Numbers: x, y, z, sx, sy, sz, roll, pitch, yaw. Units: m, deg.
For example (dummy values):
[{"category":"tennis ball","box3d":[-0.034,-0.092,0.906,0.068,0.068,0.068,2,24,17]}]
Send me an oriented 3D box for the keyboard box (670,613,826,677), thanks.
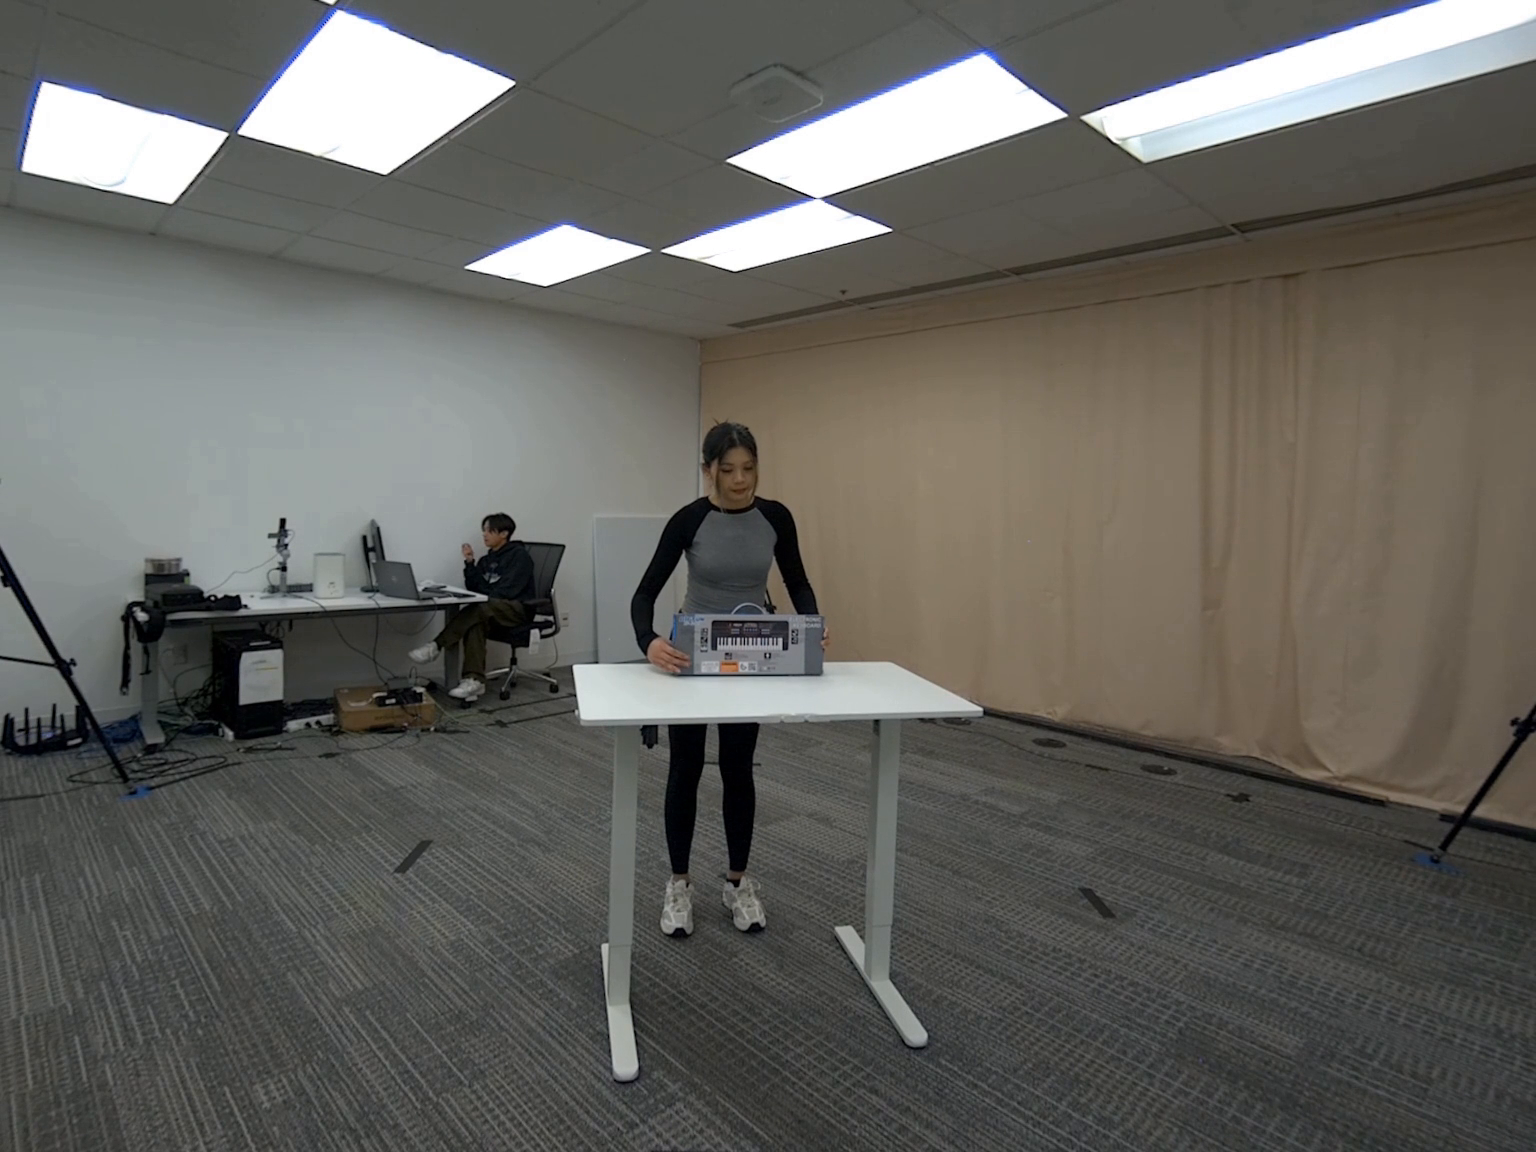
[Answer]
[{"category":"keyboard box","box3d":[-0.073,0.198,2.432,0.433,0.176,0.059,2,-1,-11]}]
